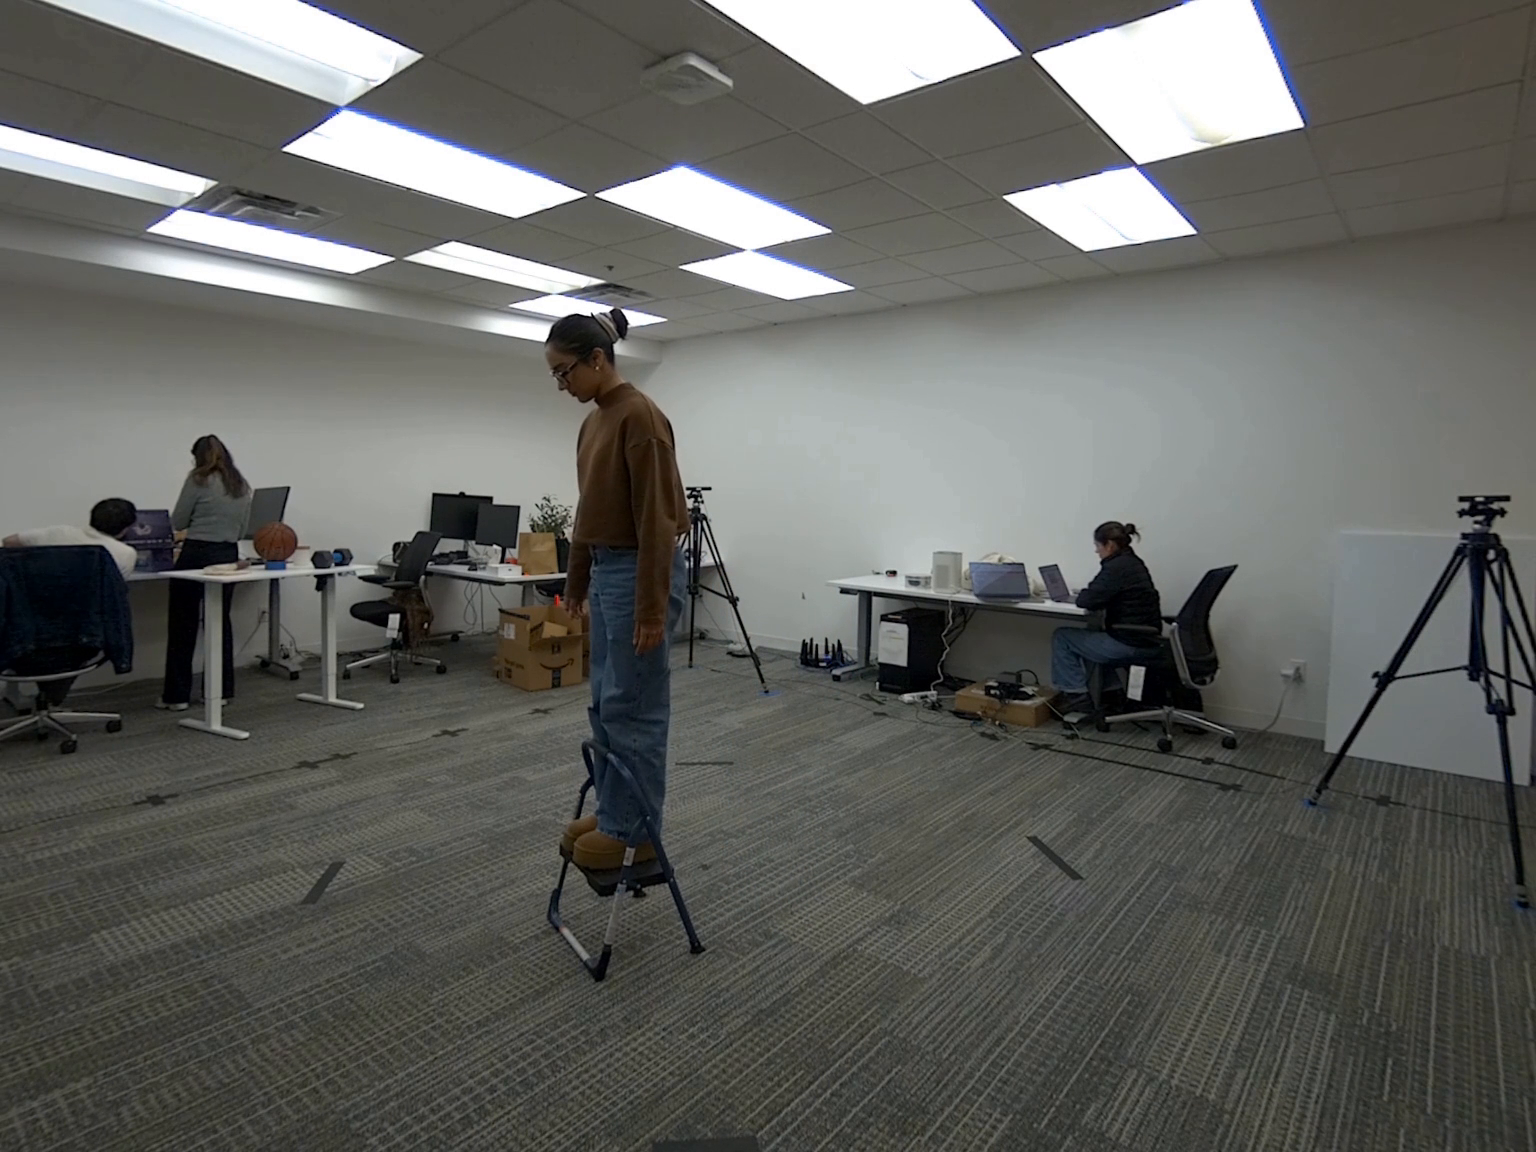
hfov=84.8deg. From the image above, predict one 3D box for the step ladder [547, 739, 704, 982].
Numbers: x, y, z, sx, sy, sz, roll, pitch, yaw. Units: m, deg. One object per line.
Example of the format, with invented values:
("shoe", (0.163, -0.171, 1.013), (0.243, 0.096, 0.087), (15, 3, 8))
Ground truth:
("step ladder", (-0.460, 0.809, 2.622), (0.339, 0.604, 0.444), (-2, 5, -34))
